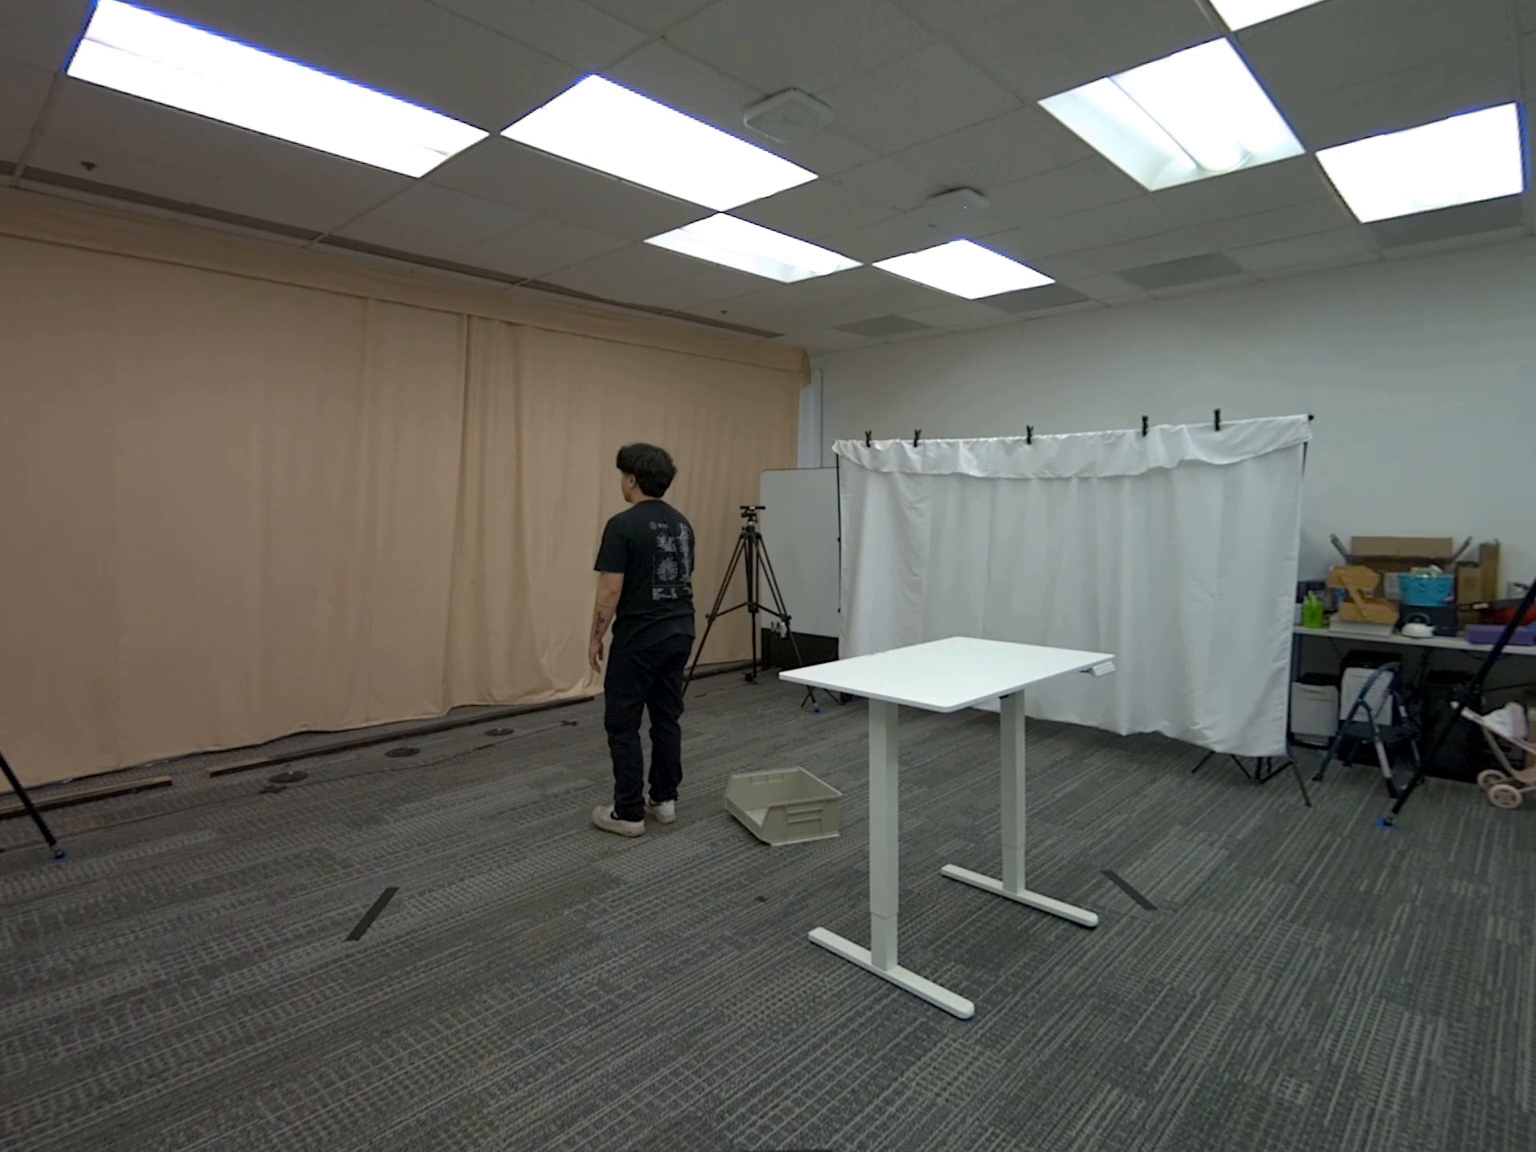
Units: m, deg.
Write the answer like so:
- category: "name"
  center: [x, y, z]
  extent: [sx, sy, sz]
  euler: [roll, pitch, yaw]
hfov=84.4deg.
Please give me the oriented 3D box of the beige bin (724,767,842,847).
- category: "beige bin"
  center: [0.057, 1.000, 3.667]
  extent: [0.369, 0.188, 0.432]
  euler: [-1, 4, -22]
